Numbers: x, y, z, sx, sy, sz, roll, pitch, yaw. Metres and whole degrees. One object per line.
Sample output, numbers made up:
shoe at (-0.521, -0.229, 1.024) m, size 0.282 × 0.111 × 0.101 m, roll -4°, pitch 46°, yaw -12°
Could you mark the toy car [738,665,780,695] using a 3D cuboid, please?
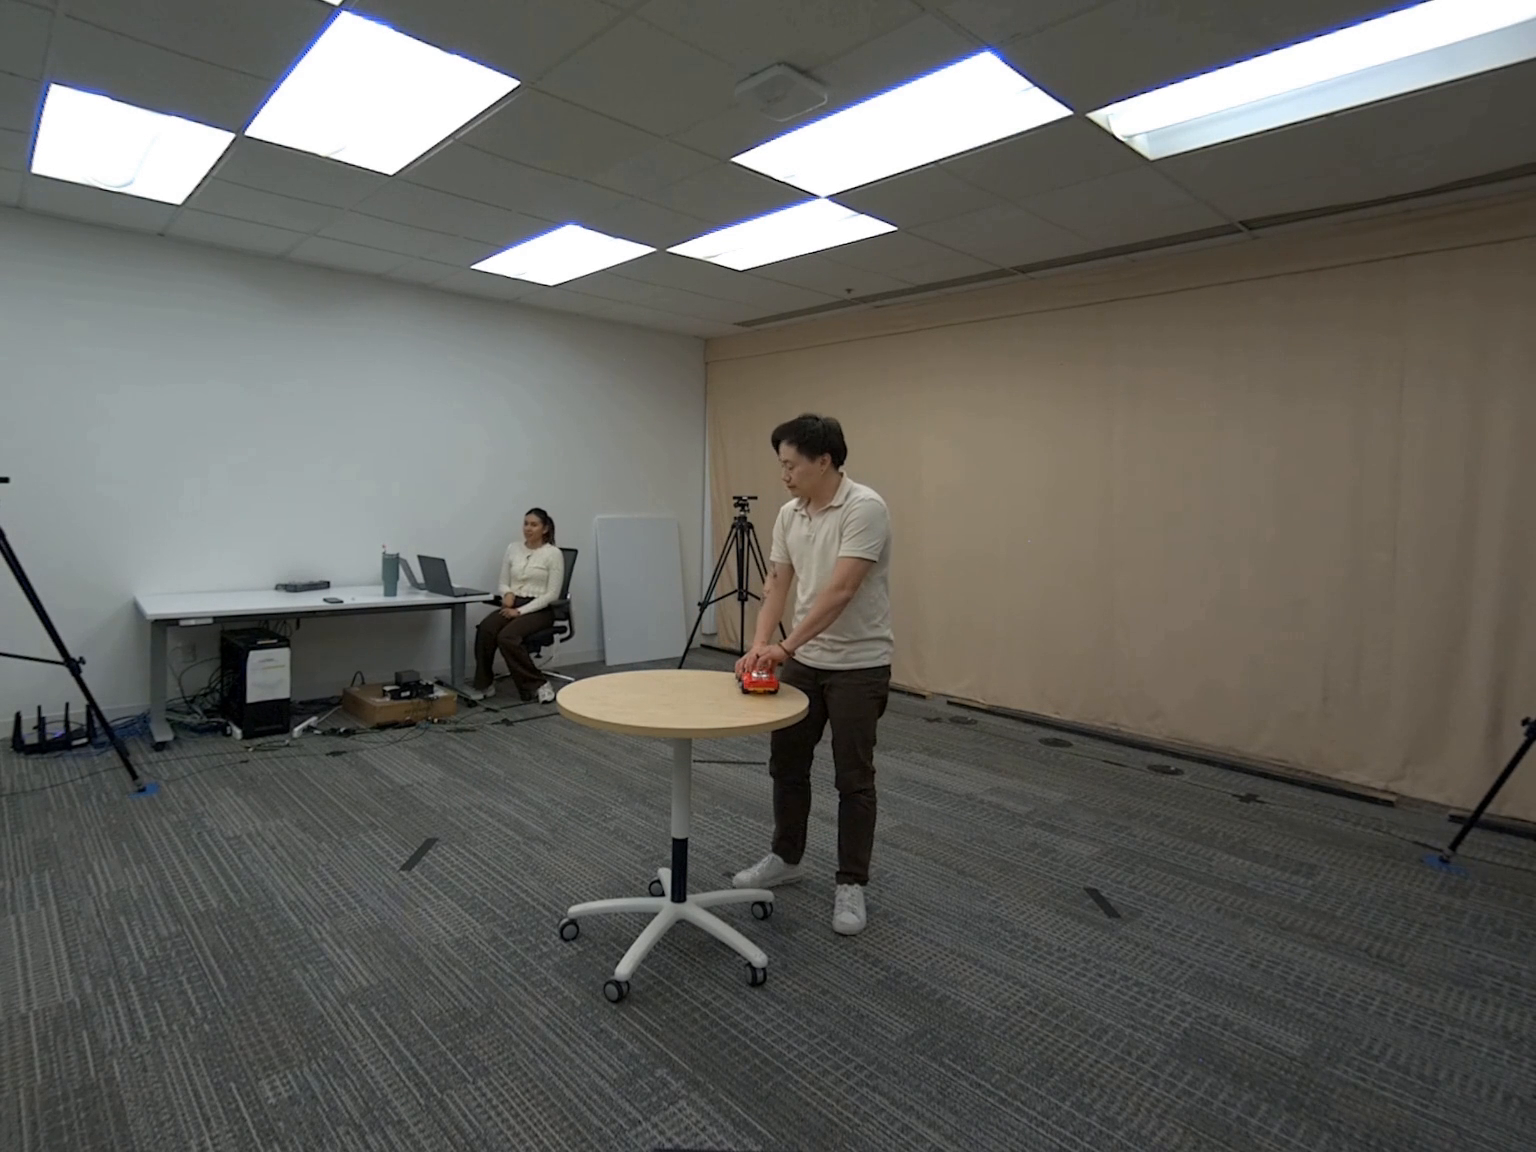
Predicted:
toy car at (-0.043, 0.330, 2.670) m, size 0.130 × 0.084 × 0.254 m, roll 3°, pitch -8°, yaw -6°
